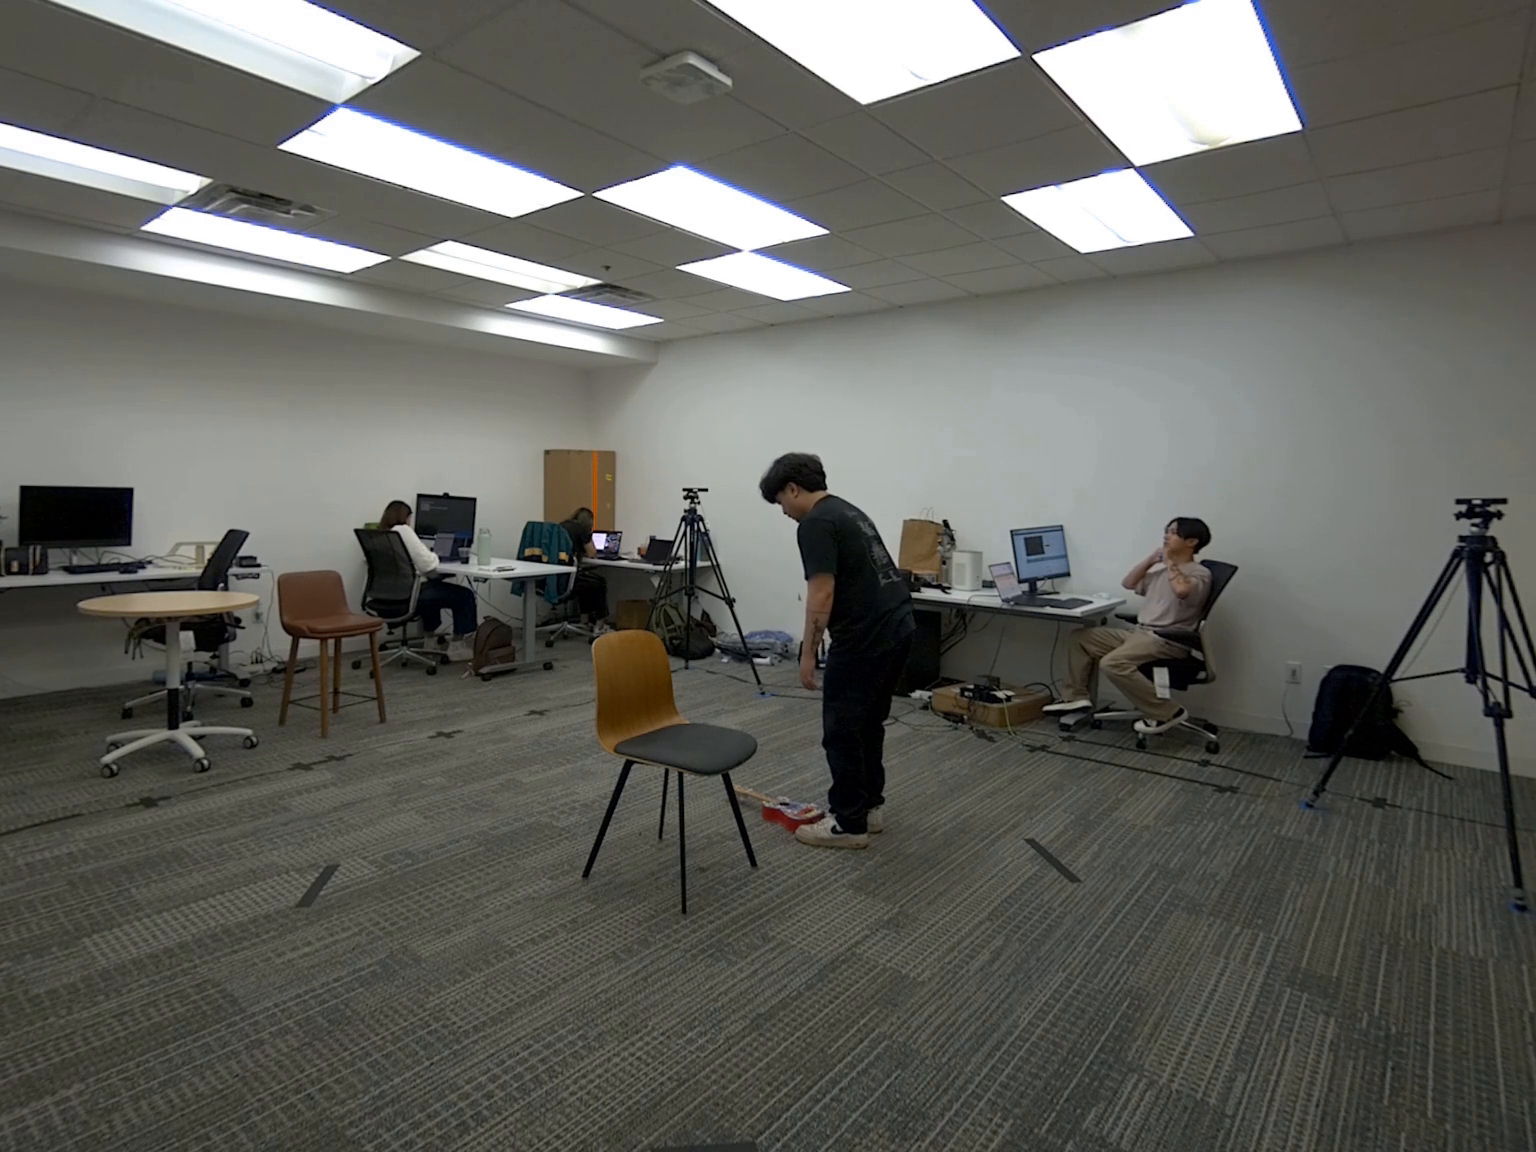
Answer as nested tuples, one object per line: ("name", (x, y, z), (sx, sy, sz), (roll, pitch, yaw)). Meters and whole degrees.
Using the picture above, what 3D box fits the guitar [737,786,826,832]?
("guitar", (0.026, 0.984, 3.687), (0.187, 0.070, 0.515), (-5, 8, -39))
